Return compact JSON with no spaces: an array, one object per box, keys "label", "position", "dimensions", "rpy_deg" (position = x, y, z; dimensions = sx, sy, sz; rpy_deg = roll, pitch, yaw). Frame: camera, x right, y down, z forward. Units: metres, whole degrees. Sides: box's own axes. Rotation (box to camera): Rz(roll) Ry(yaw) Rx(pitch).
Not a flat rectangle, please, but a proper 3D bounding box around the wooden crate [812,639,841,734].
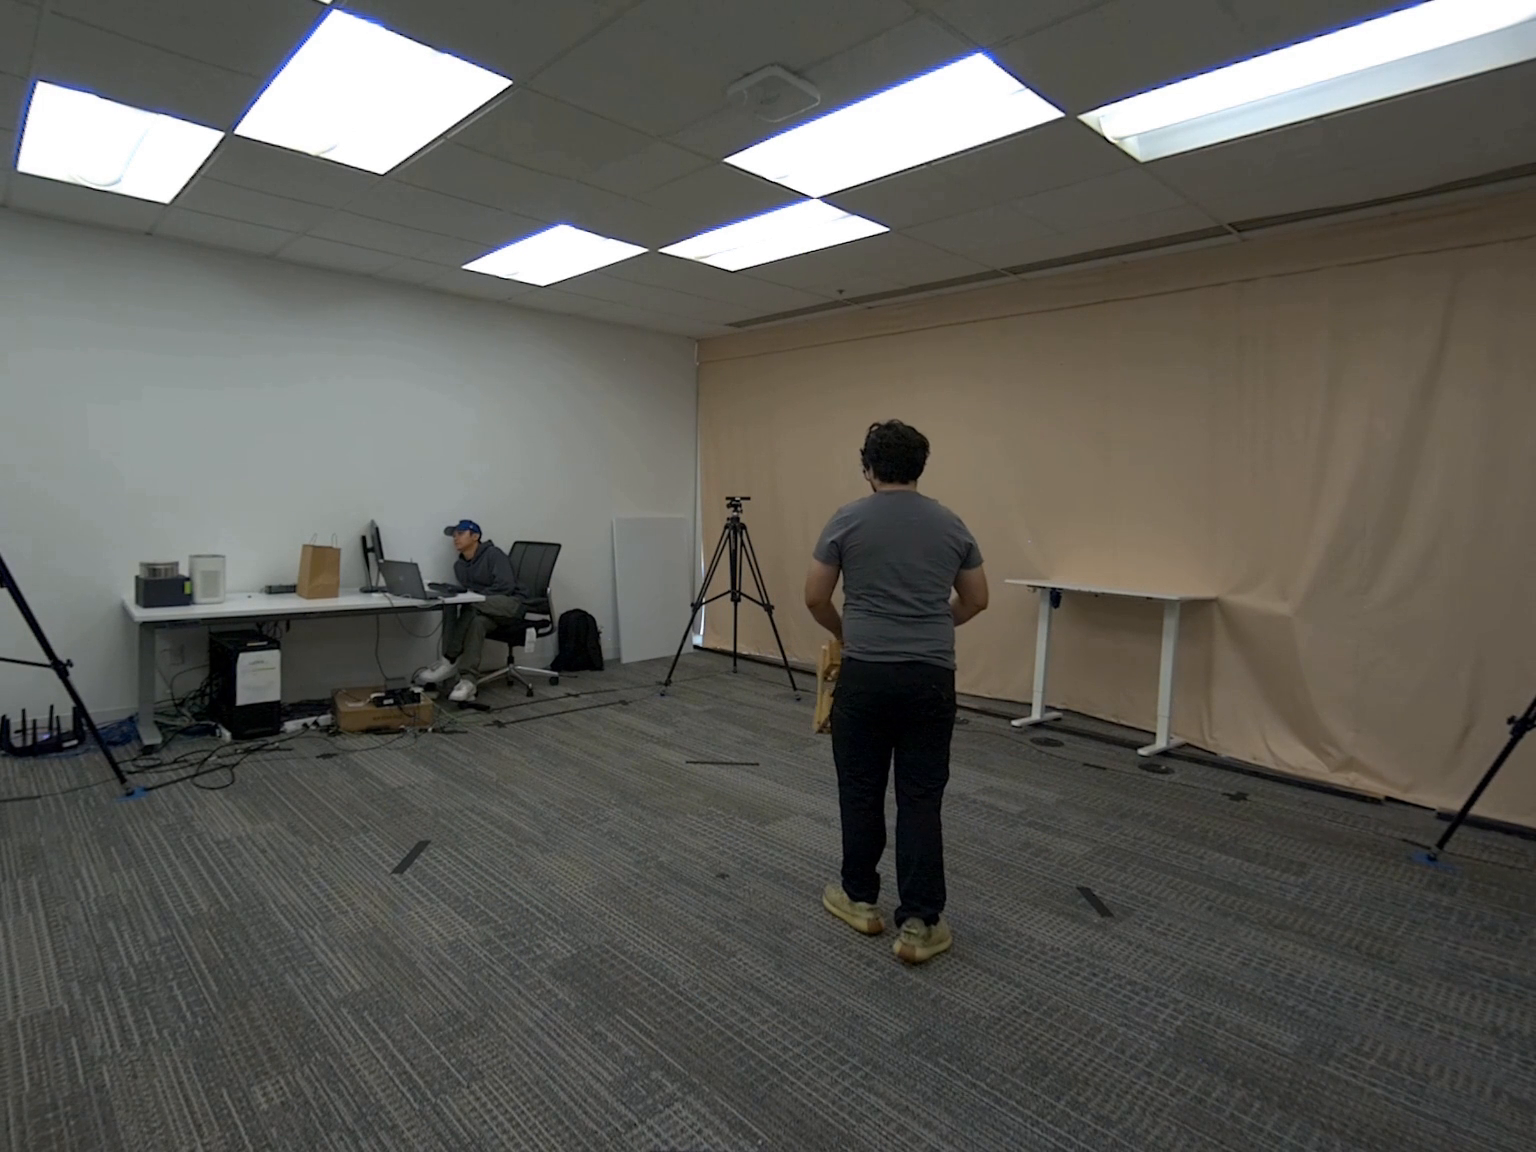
[{"label":"wooden crate","position":[0.334,0.417,3.051],"dimensions":[0.322,0.278,0.298],"rpy_deg":[4,-29,-7]}]
